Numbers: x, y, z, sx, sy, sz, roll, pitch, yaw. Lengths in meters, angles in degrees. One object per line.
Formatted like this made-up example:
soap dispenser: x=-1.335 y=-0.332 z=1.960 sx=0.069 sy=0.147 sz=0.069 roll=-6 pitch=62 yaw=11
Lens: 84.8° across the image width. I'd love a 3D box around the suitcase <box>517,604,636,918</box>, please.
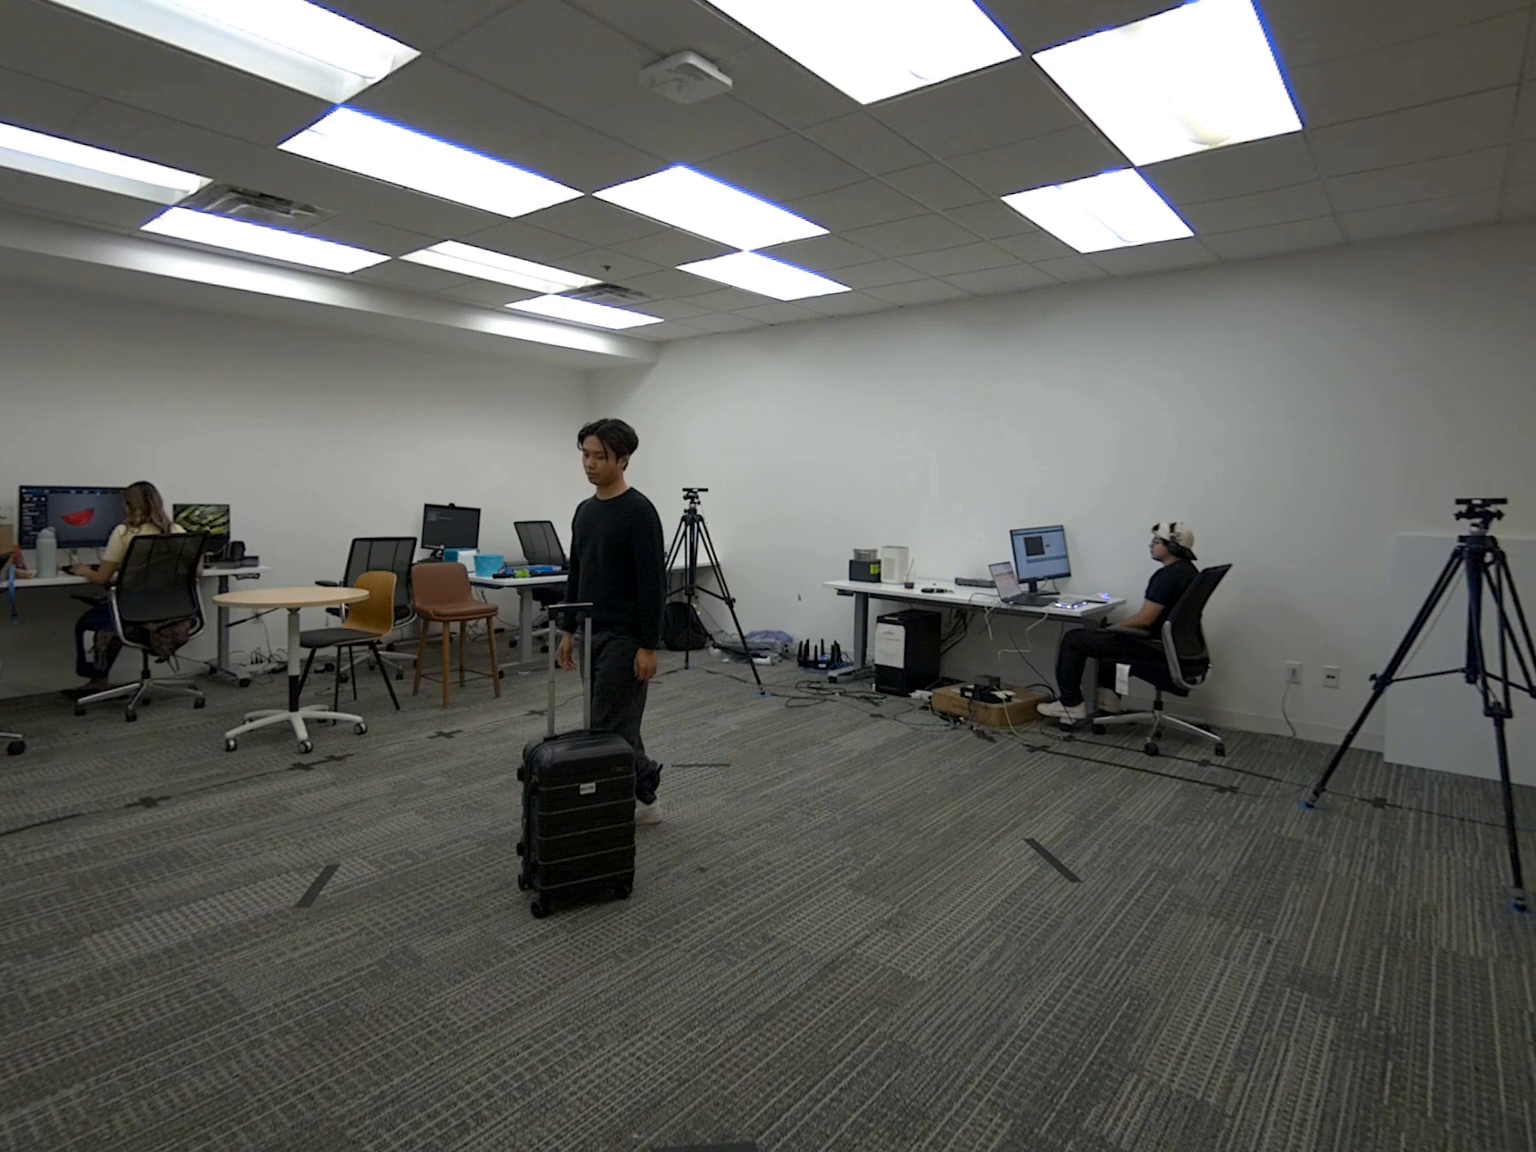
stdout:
suitcase: x=-0.648 y=0.612 z=2.858 sx=0.375 sy=0.973 sz=0.264 roll=-1 pitch=7 yaw=-24
